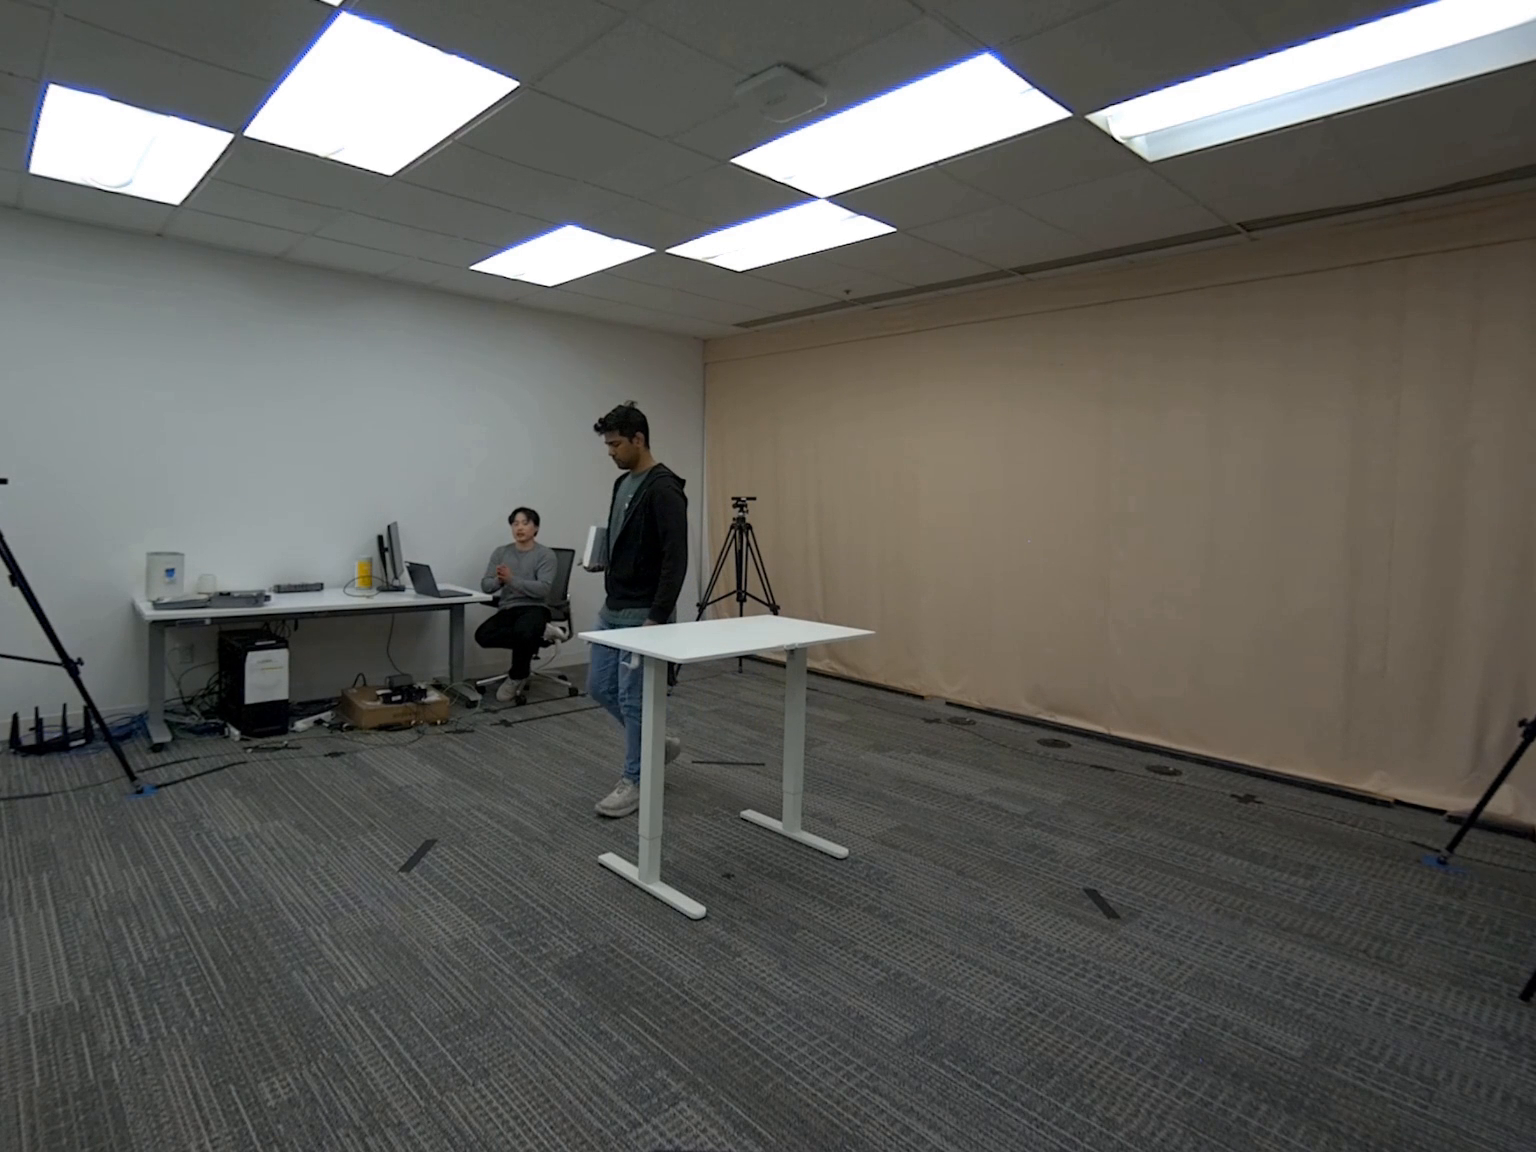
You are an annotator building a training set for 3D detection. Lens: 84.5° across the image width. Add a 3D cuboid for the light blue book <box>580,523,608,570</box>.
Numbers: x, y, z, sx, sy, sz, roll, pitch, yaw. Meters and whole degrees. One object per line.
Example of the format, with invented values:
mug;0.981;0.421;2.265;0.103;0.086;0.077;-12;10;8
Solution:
light blue book;-0.710;-0.124;3.858;0.254;0.191;0.061;9;8;-43
